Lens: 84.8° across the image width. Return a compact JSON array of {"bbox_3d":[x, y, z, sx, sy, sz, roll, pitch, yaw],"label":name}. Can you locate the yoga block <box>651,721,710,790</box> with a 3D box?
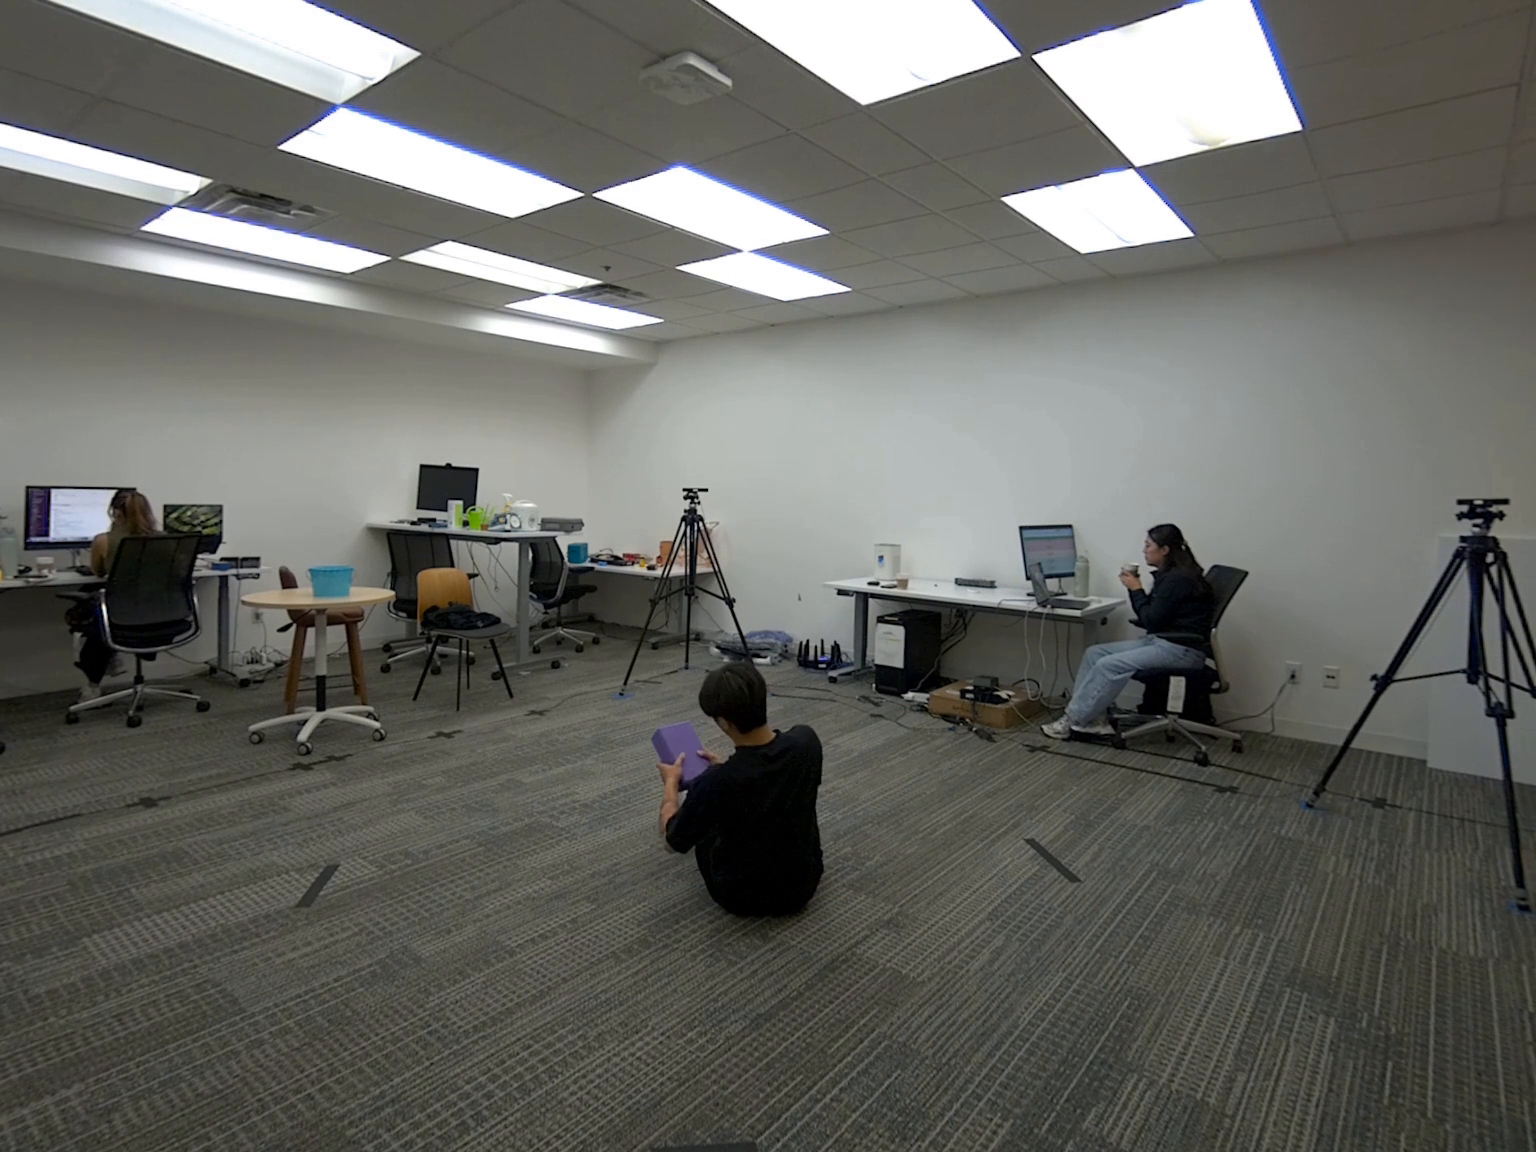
[{"bbox_3d":[-0.304,0.638,3.033,0.145,0.076,0.238,-6,51,-39],"label":"yoga block"}]
